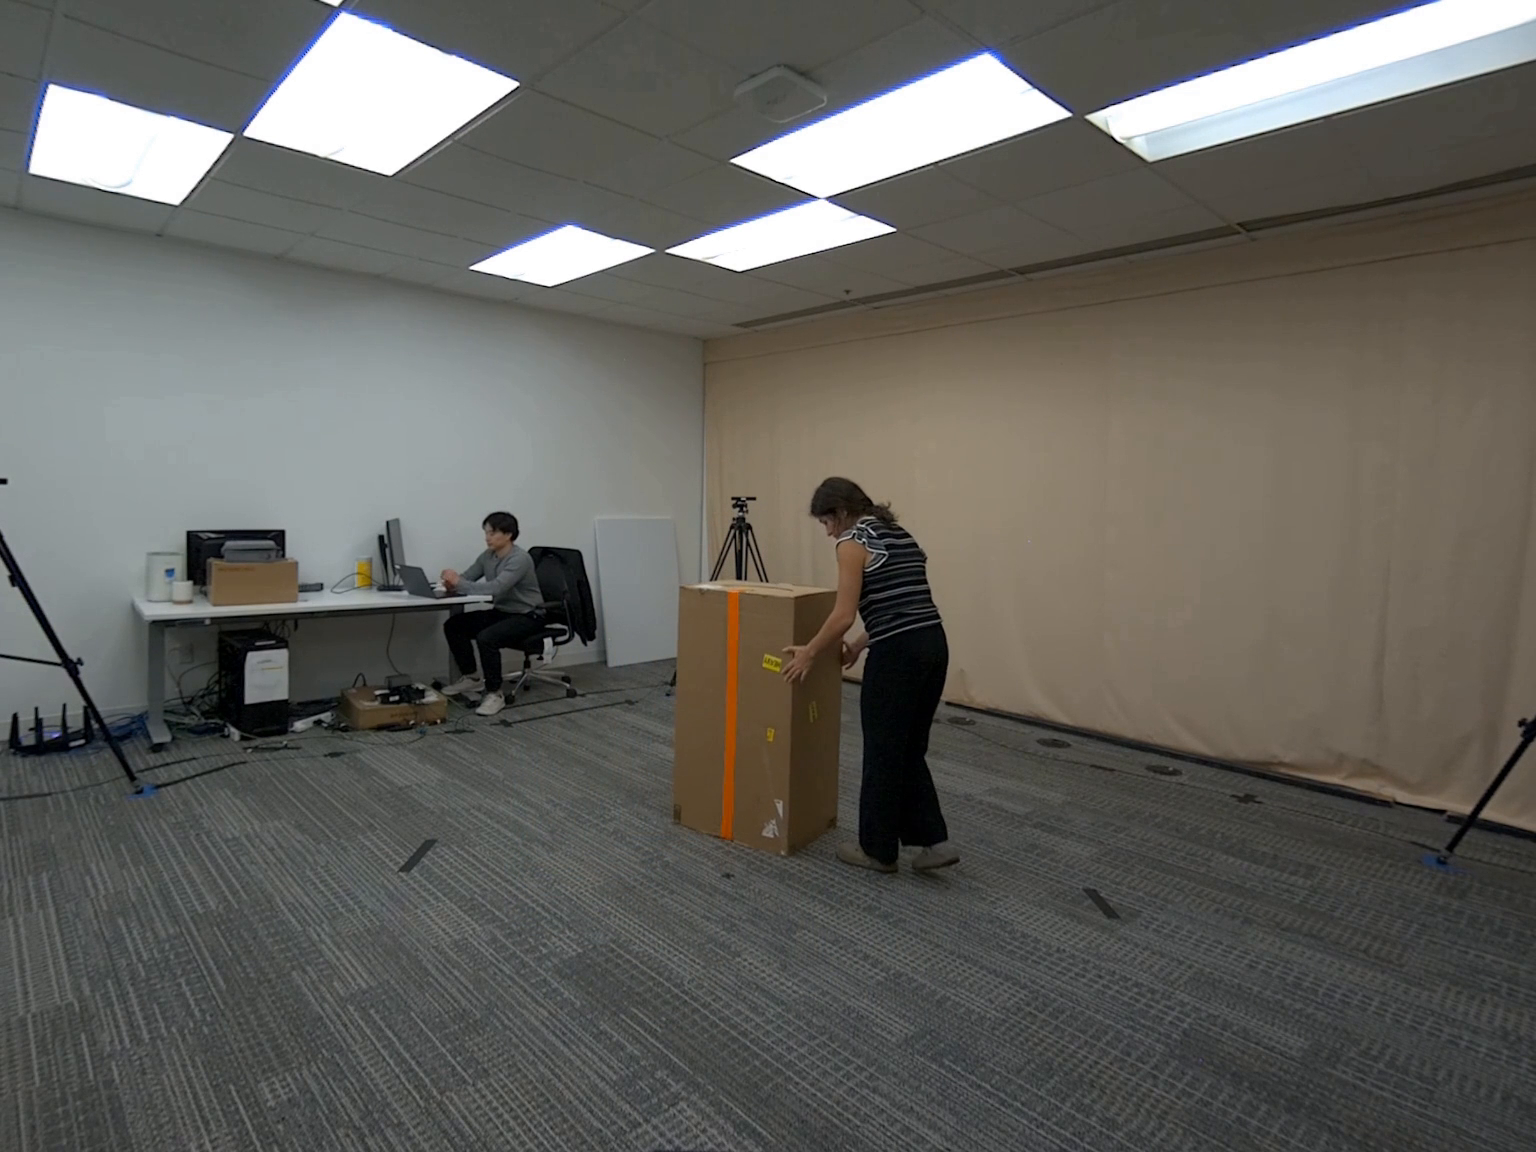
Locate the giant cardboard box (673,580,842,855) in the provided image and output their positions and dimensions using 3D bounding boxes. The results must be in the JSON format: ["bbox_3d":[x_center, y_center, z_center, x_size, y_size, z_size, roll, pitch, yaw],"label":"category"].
[{"bbox_3d":[-0.048,0.558,3.589,0.591,1.023,0.417,4,4,34],"label":"giant cardboard box"}]
